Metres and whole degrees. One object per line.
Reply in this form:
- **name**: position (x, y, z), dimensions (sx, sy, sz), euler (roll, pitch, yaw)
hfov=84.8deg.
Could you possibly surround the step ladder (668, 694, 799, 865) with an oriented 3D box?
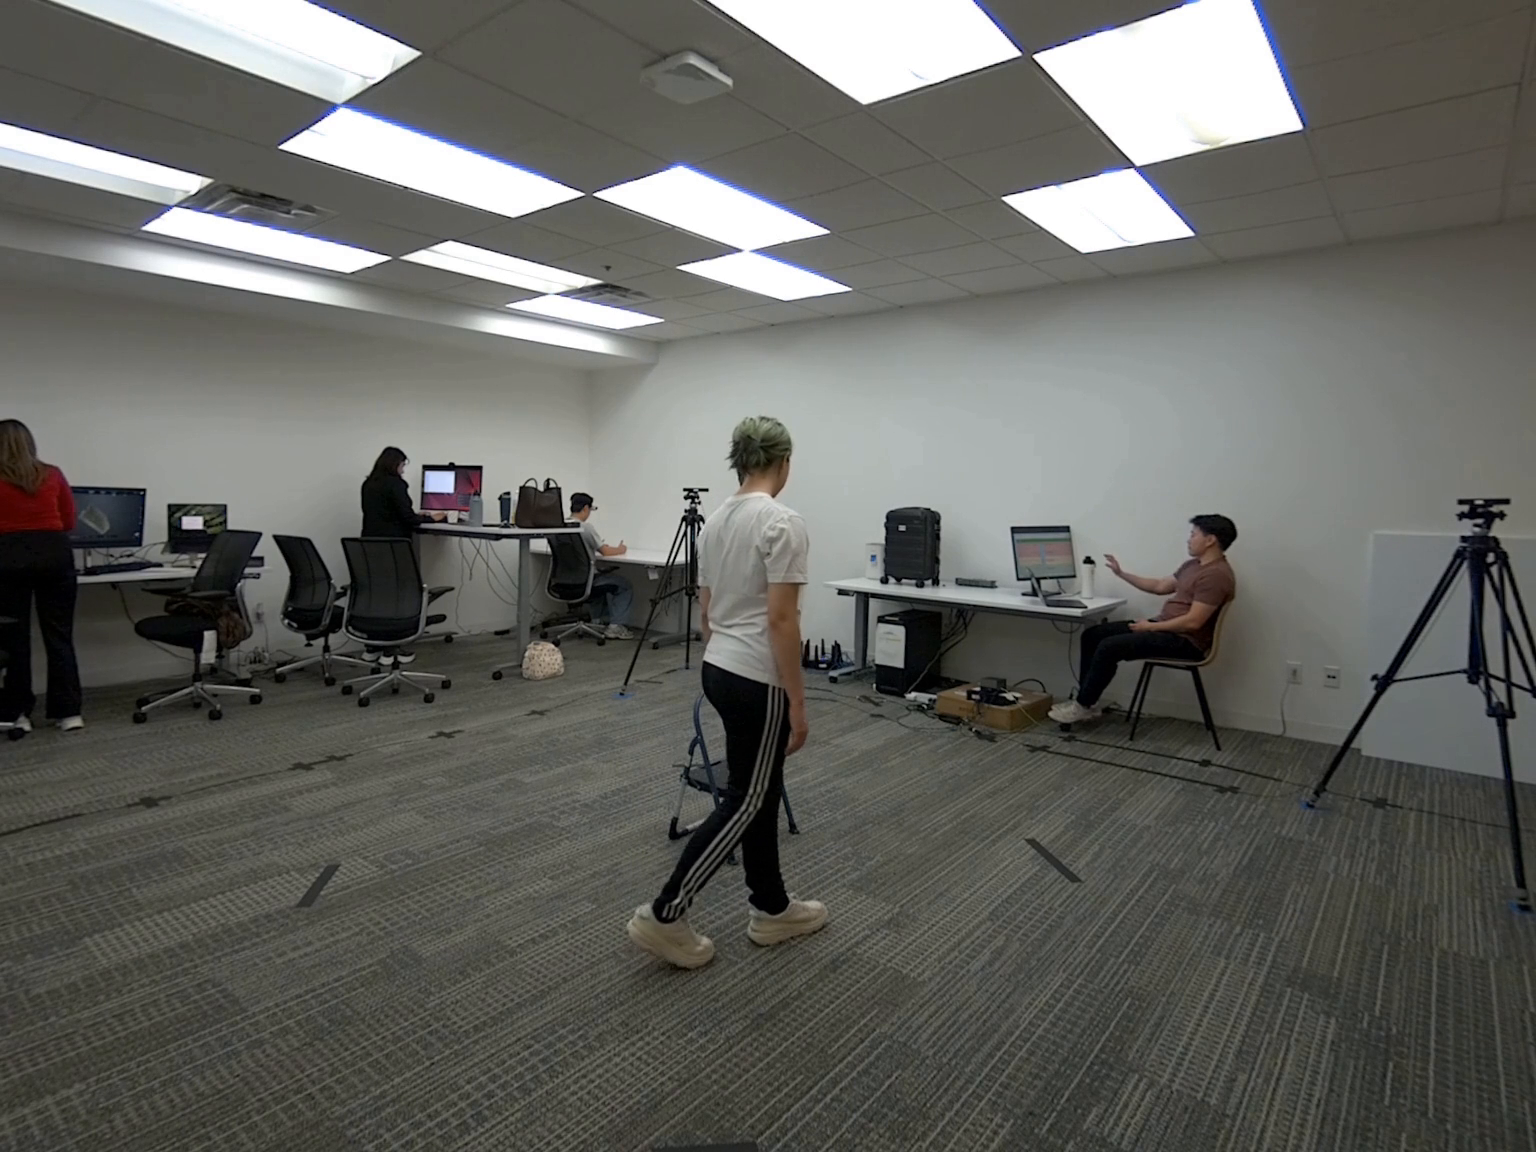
- **step ladder**: position (-0.139, 0.738, 3.400), dimensions (0.361, 0.605, 0.417), euler (4, 4, 38)
